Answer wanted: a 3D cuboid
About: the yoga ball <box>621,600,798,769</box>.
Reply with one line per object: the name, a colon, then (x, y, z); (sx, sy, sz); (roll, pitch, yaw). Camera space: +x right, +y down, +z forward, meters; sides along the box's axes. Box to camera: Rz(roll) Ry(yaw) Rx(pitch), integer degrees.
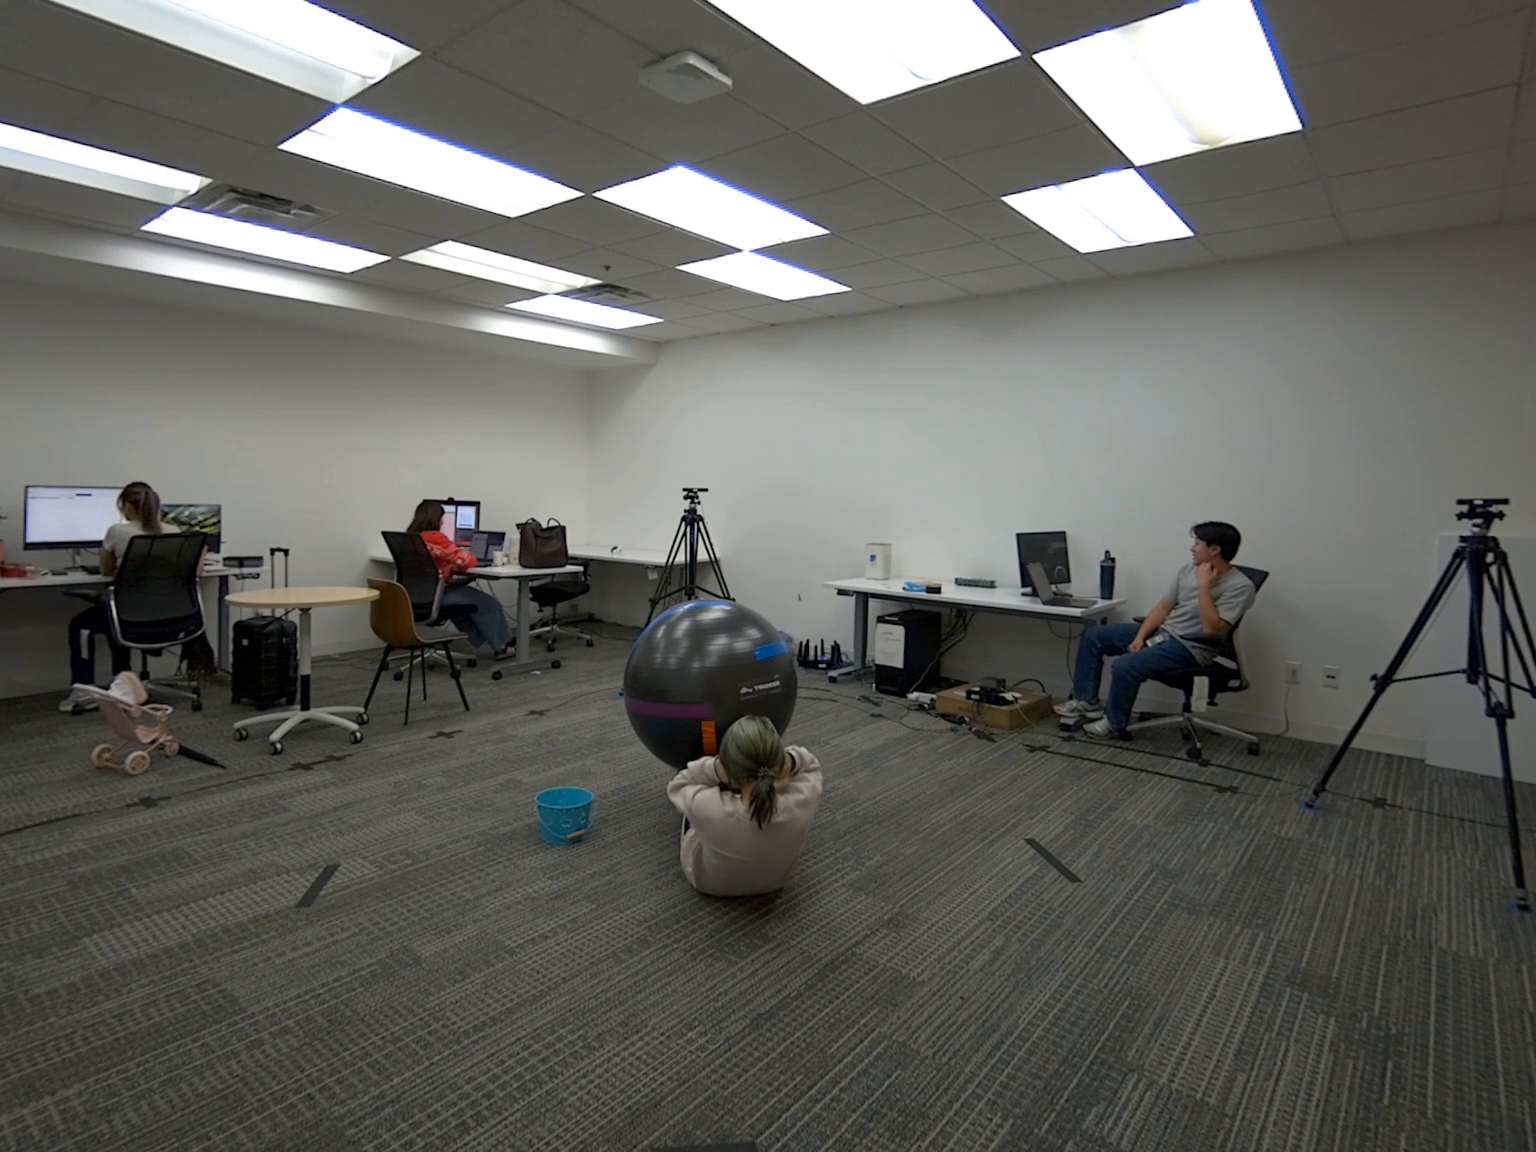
yoga ball: (-0.268, 0.476, 3.712); (0.757, 0.756, 0.761); (1, 4, -2)
